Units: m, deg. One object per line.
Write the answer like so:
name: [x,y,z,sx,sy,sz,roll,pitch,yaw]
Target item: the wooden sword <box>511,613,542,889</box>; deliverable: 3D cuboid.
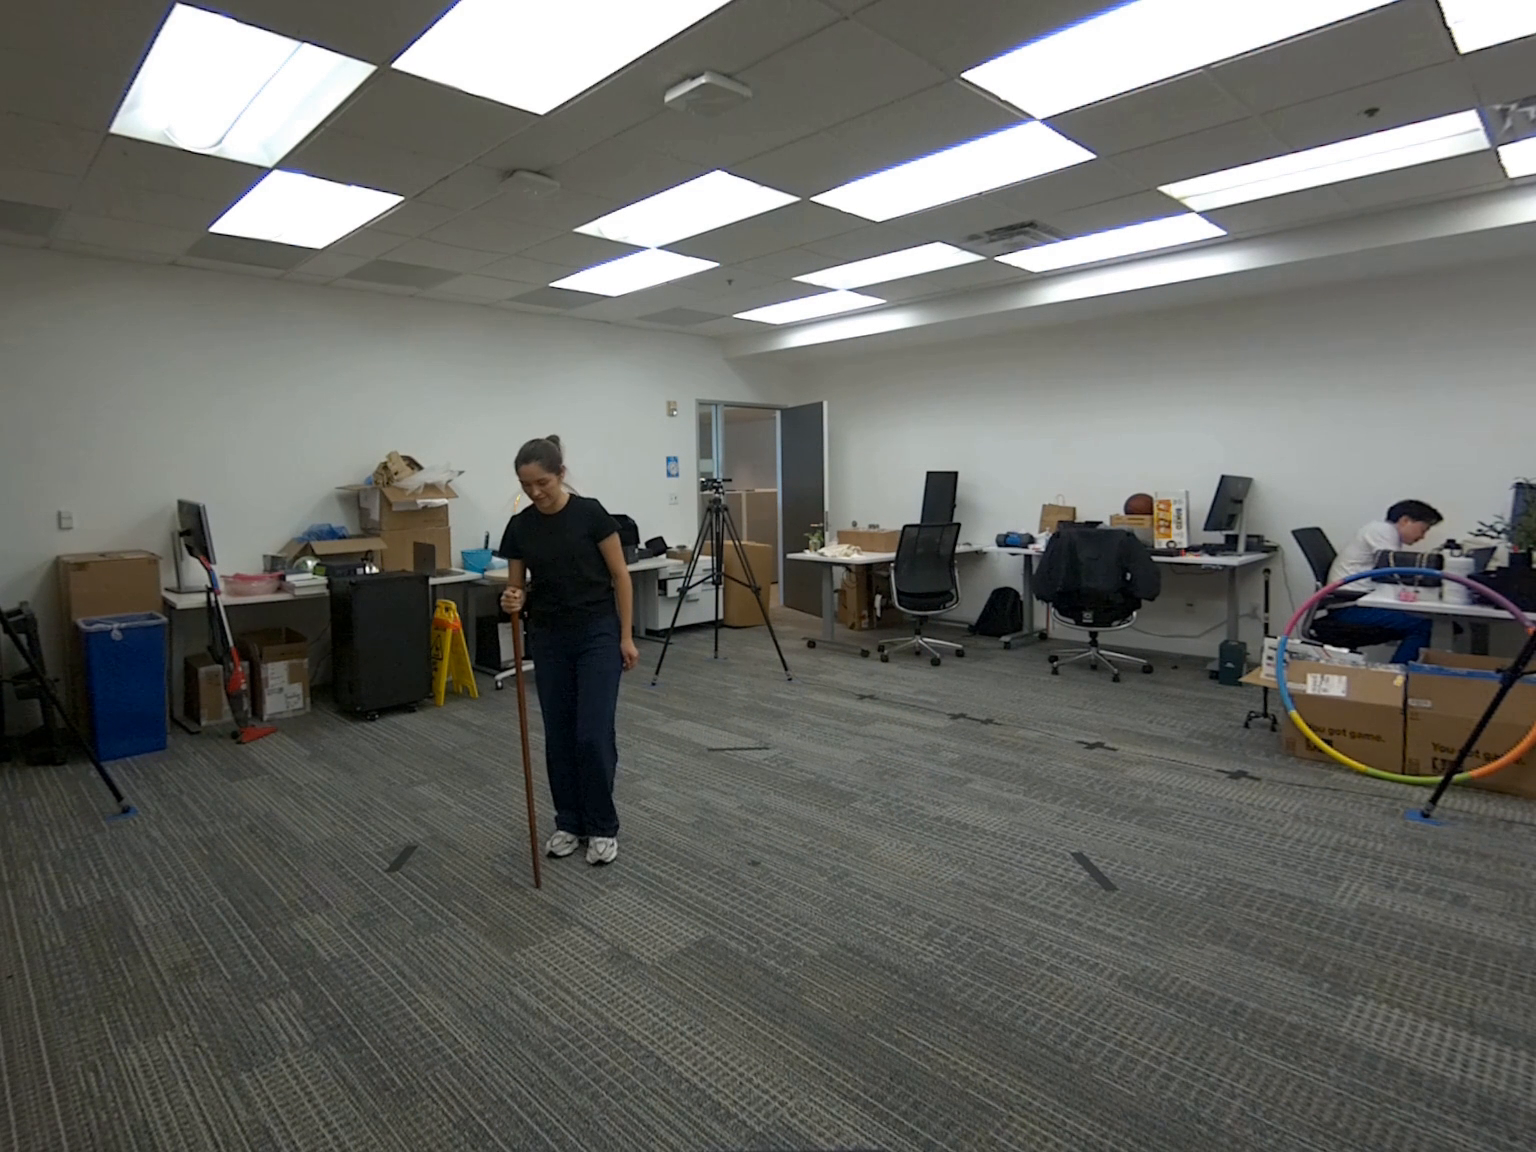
wooden sword: [-0.848,0.583,3.012,0.024,1.028,0.050,-8,-4,16]
